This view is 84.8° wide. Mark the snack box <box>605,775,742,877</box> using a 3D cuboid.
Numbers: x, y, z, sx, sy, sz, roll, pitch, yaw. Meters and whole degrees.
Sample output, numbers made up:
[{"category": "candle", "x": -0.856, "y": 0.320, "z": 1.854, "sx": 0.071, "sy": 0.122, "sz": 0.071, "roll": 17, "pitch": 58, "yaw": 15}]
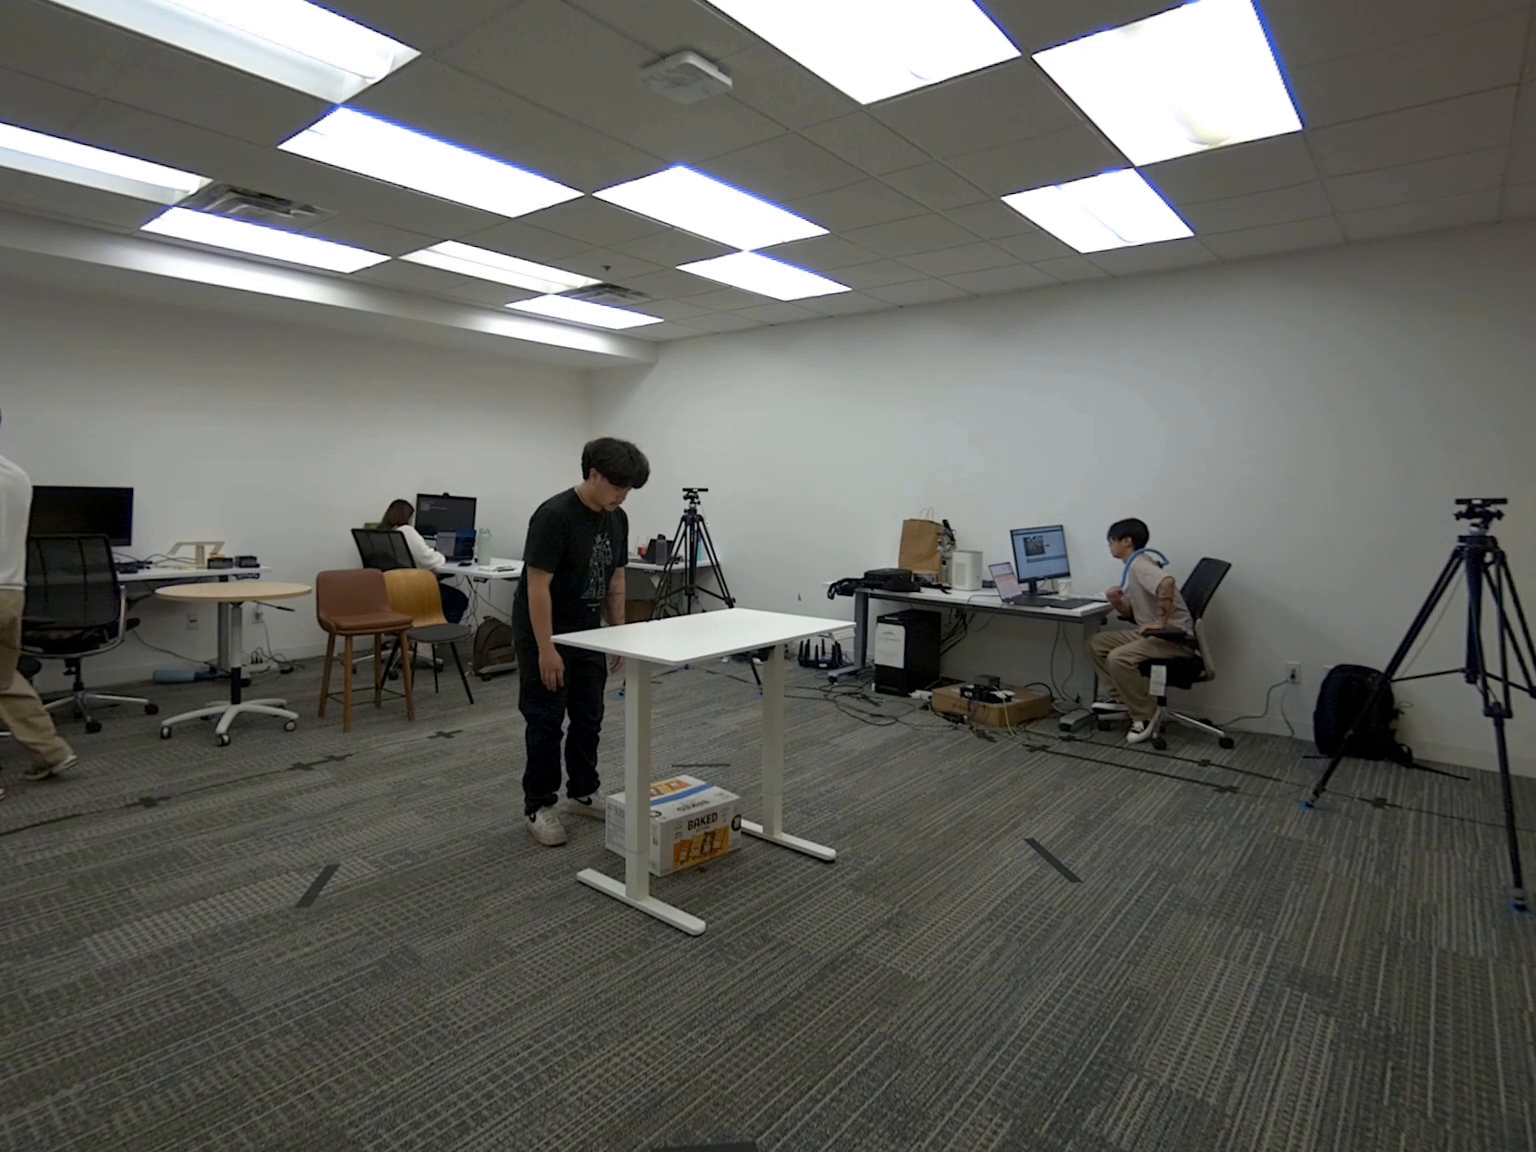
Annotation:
[{"category": "snack box", "x": -0.373, "y": 0.951, "z": 3.278, "sx": 0.393, "sy": 0.205, "sz": 0.352, "roll": -4, "pitch": 7, "yaw": -45}]
